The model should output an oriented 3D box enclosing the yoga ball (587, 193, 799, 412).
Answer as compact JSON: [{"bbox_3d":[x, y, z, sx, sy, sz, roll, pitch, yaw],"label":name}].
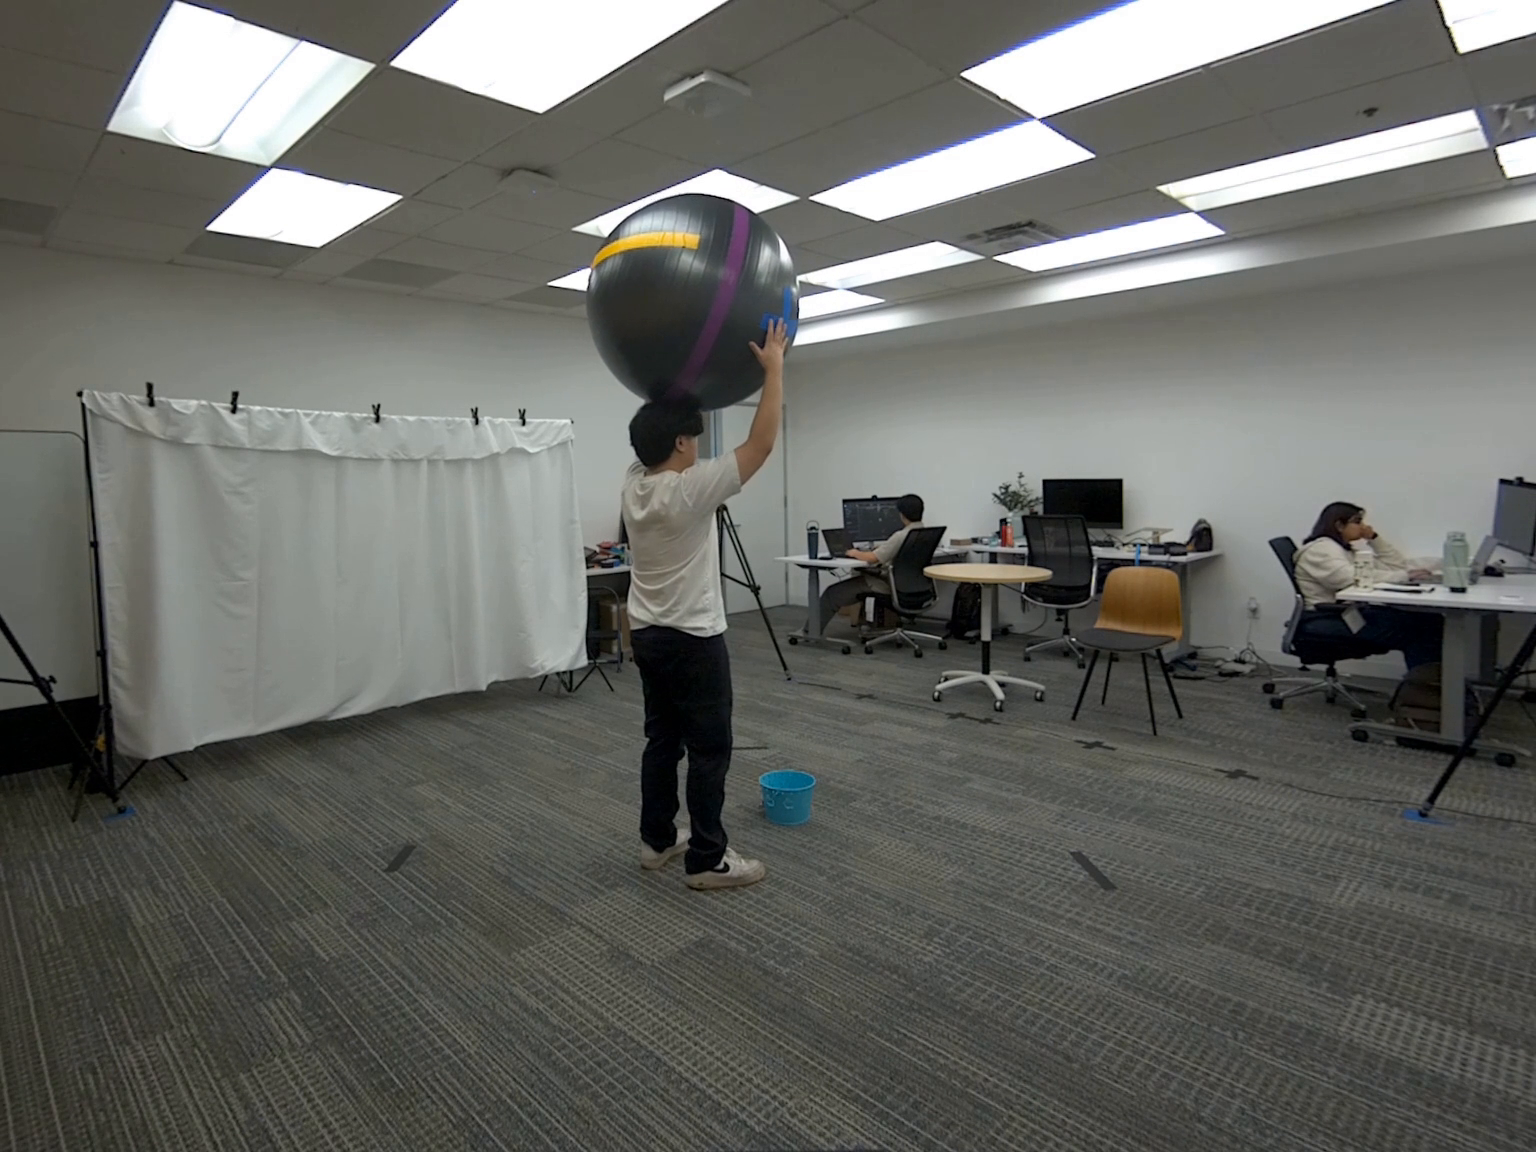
[{"bbox_3d":[-0.261,-0.959,3.048,0.757,0.755,0.762,-1,5,-2],"label":"yoga ball"}]
